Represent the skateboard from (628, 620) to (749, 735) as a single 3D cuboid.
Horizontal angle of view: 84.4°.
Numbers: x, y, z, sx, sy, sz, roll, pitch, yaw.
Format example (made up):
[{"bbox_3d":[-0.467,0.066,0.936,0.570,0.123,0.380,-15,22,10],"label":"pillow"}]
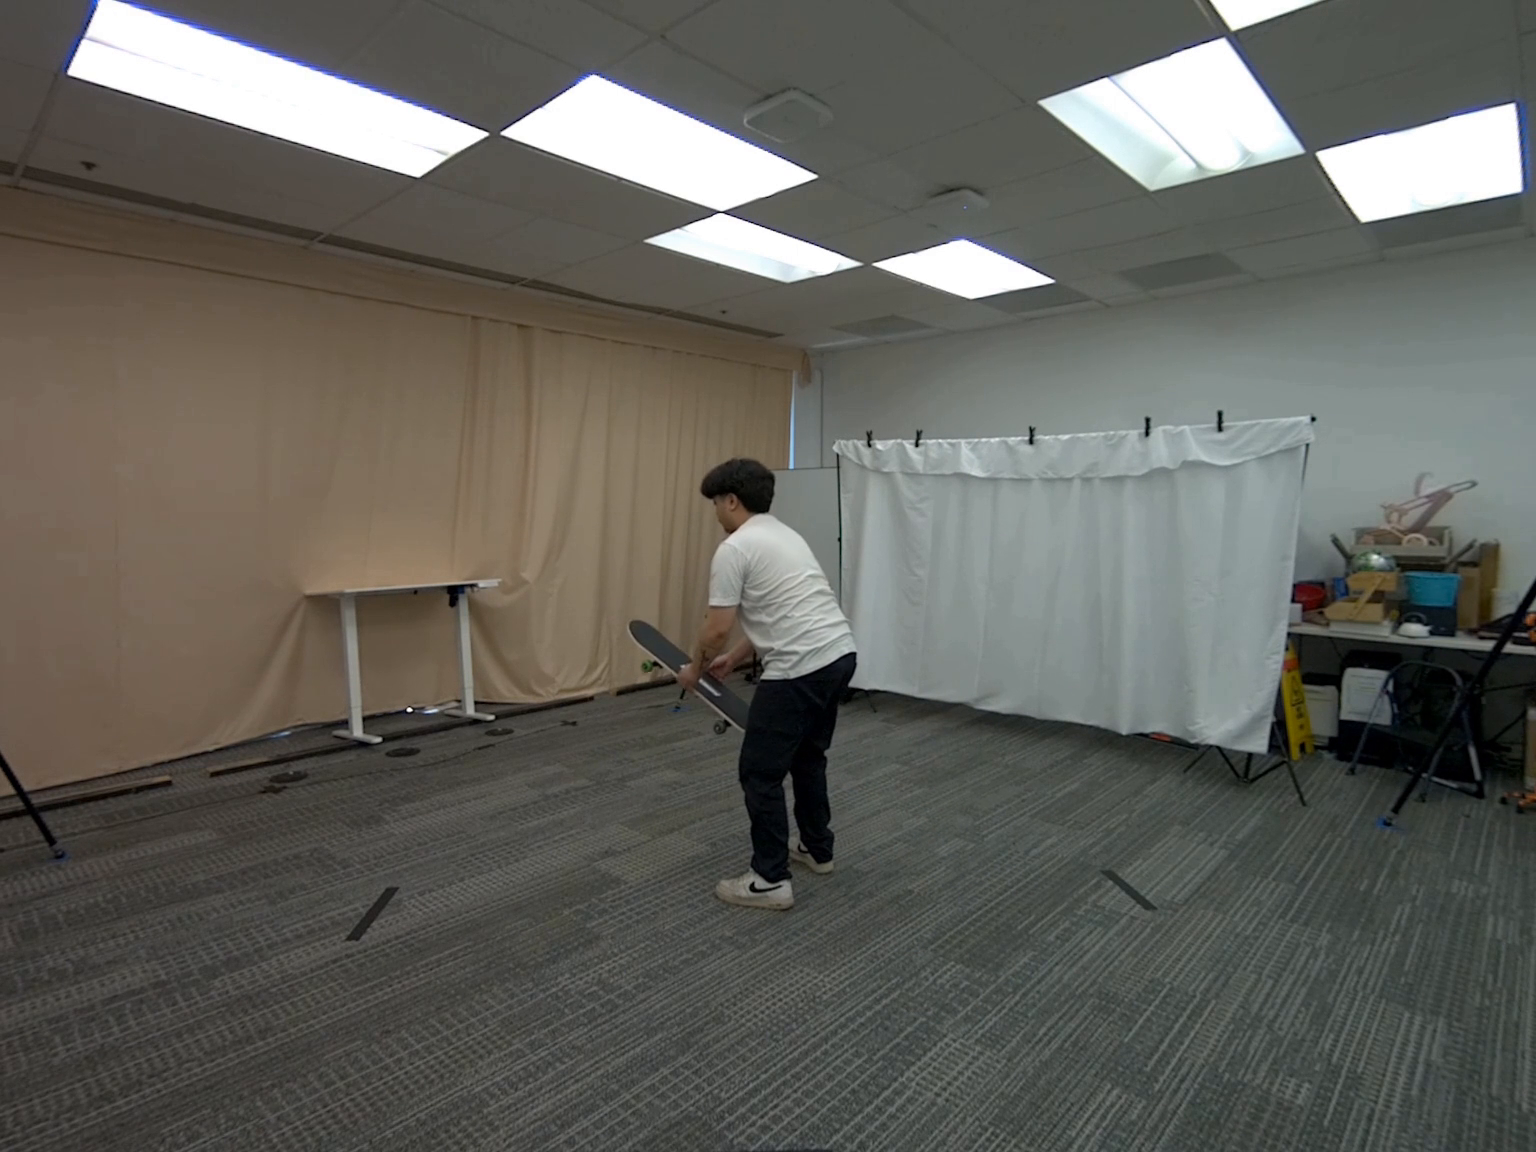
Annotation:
[{"bbox_3d":[-0.272,0.449,3.335,0.808,0.110,0.188,35,18,25],"label":"skateboard"}]
